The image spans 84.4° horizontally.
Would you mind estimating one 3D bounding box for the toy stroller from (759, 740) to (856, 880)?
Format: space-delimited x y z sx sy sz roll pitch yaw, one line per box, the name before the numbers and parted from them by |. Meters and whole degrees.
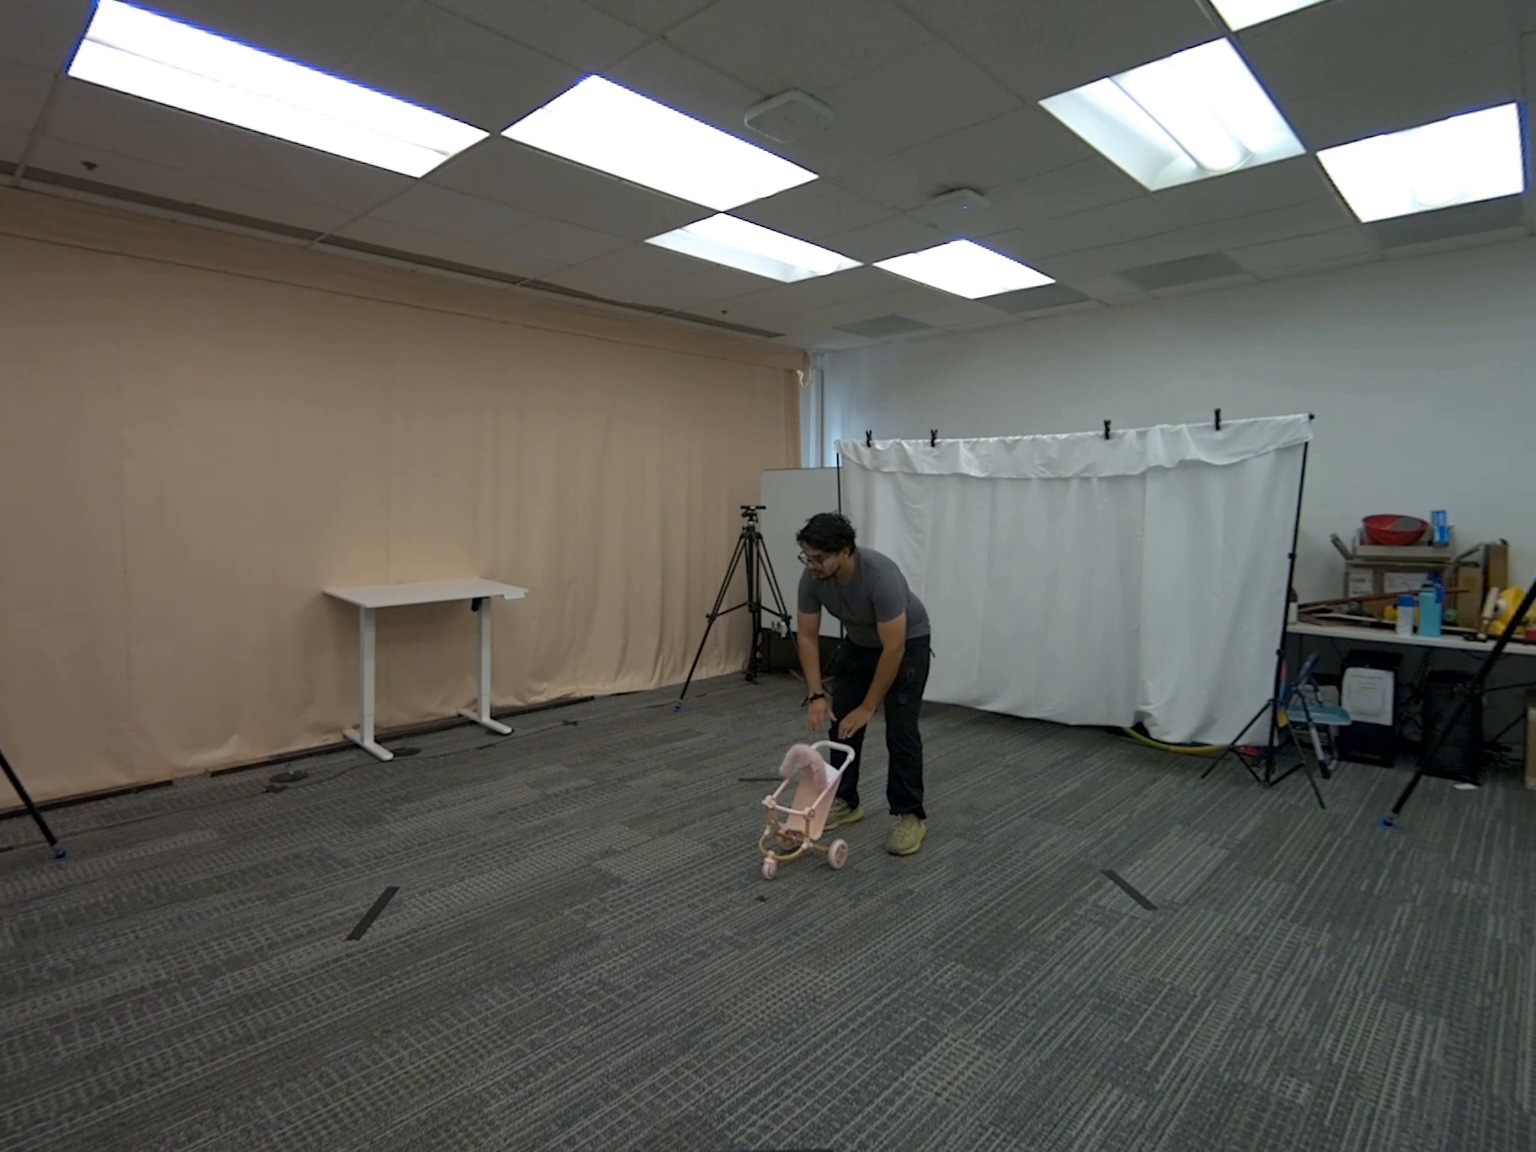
toy stroller | 0.134 0.896 3.265 0.329 0.537 0.291 19 -11 -42
